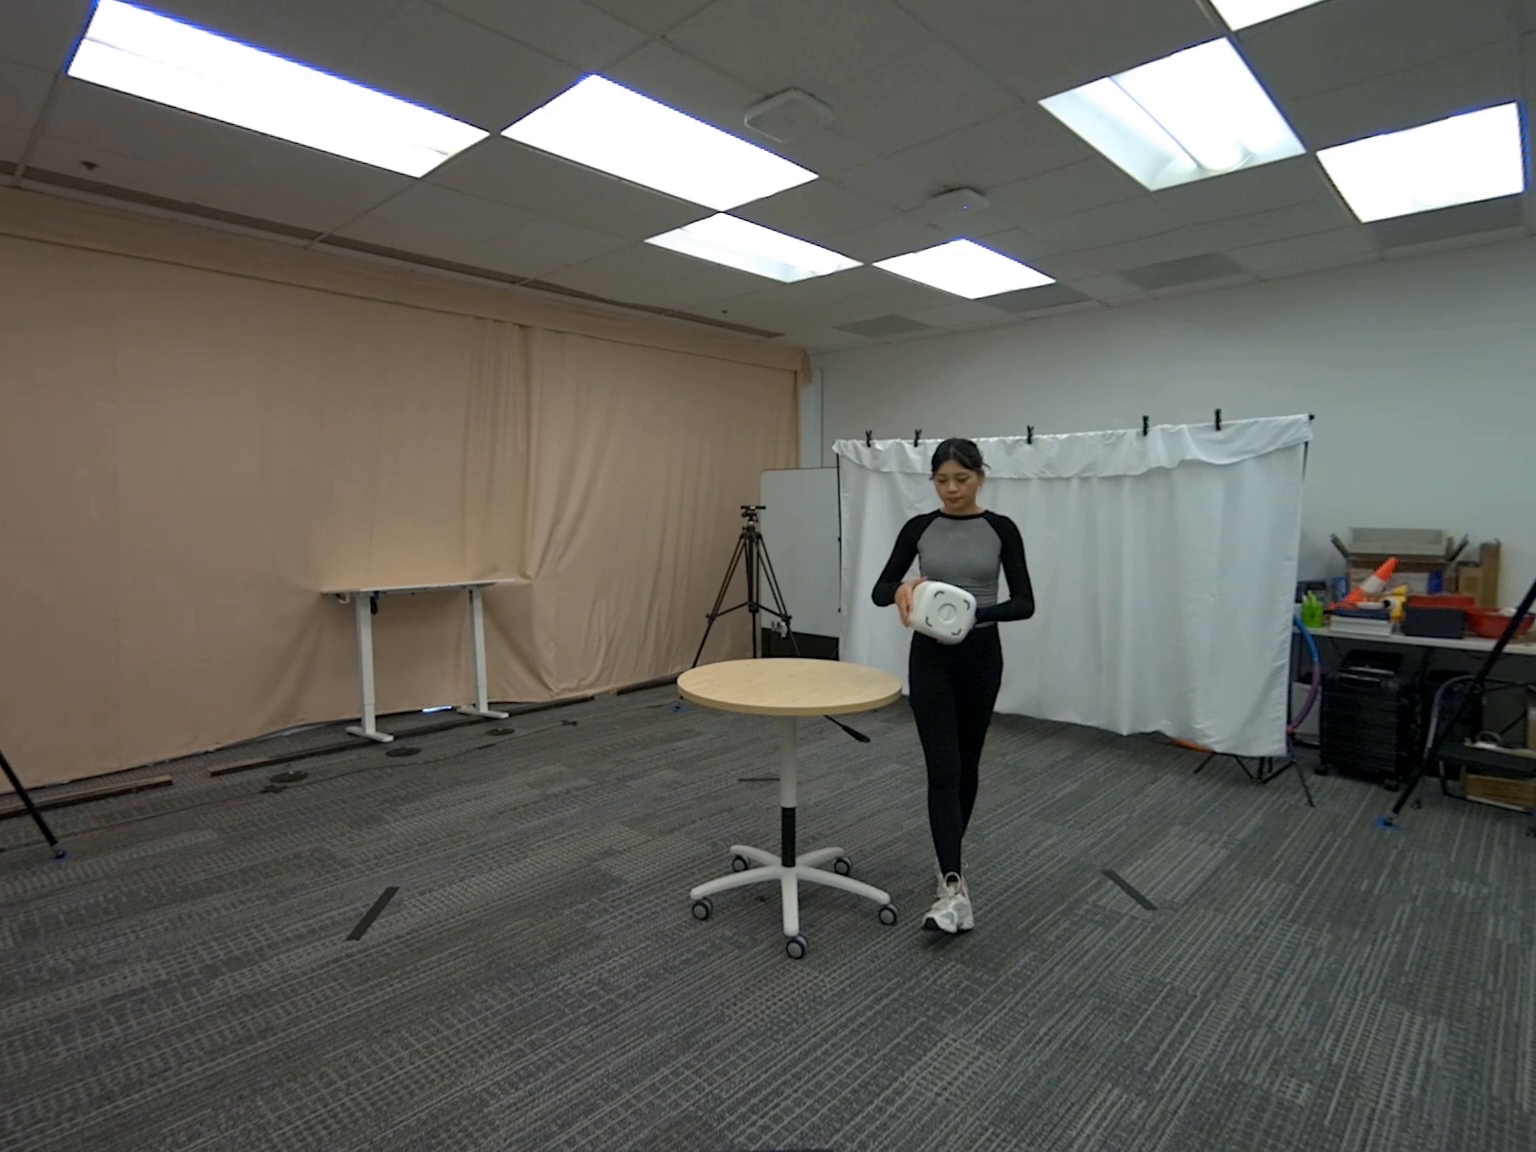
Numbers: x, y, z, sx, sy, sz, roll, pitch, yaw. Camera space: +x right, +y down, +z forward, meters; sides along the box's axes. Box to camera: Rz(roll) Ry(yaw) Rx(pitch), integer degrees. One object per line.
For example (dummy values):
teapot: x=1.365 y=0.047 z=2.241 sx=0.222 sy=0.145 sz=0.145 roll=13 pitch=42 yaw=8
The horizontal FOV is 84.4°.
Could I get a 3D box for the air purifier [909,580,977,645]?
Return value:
air purifier: x=0.540 y=0.110 z=2.713 sx=0.171 sy=0.171 sz=0.265 roll=17 pitch=-1 yaw=-2
